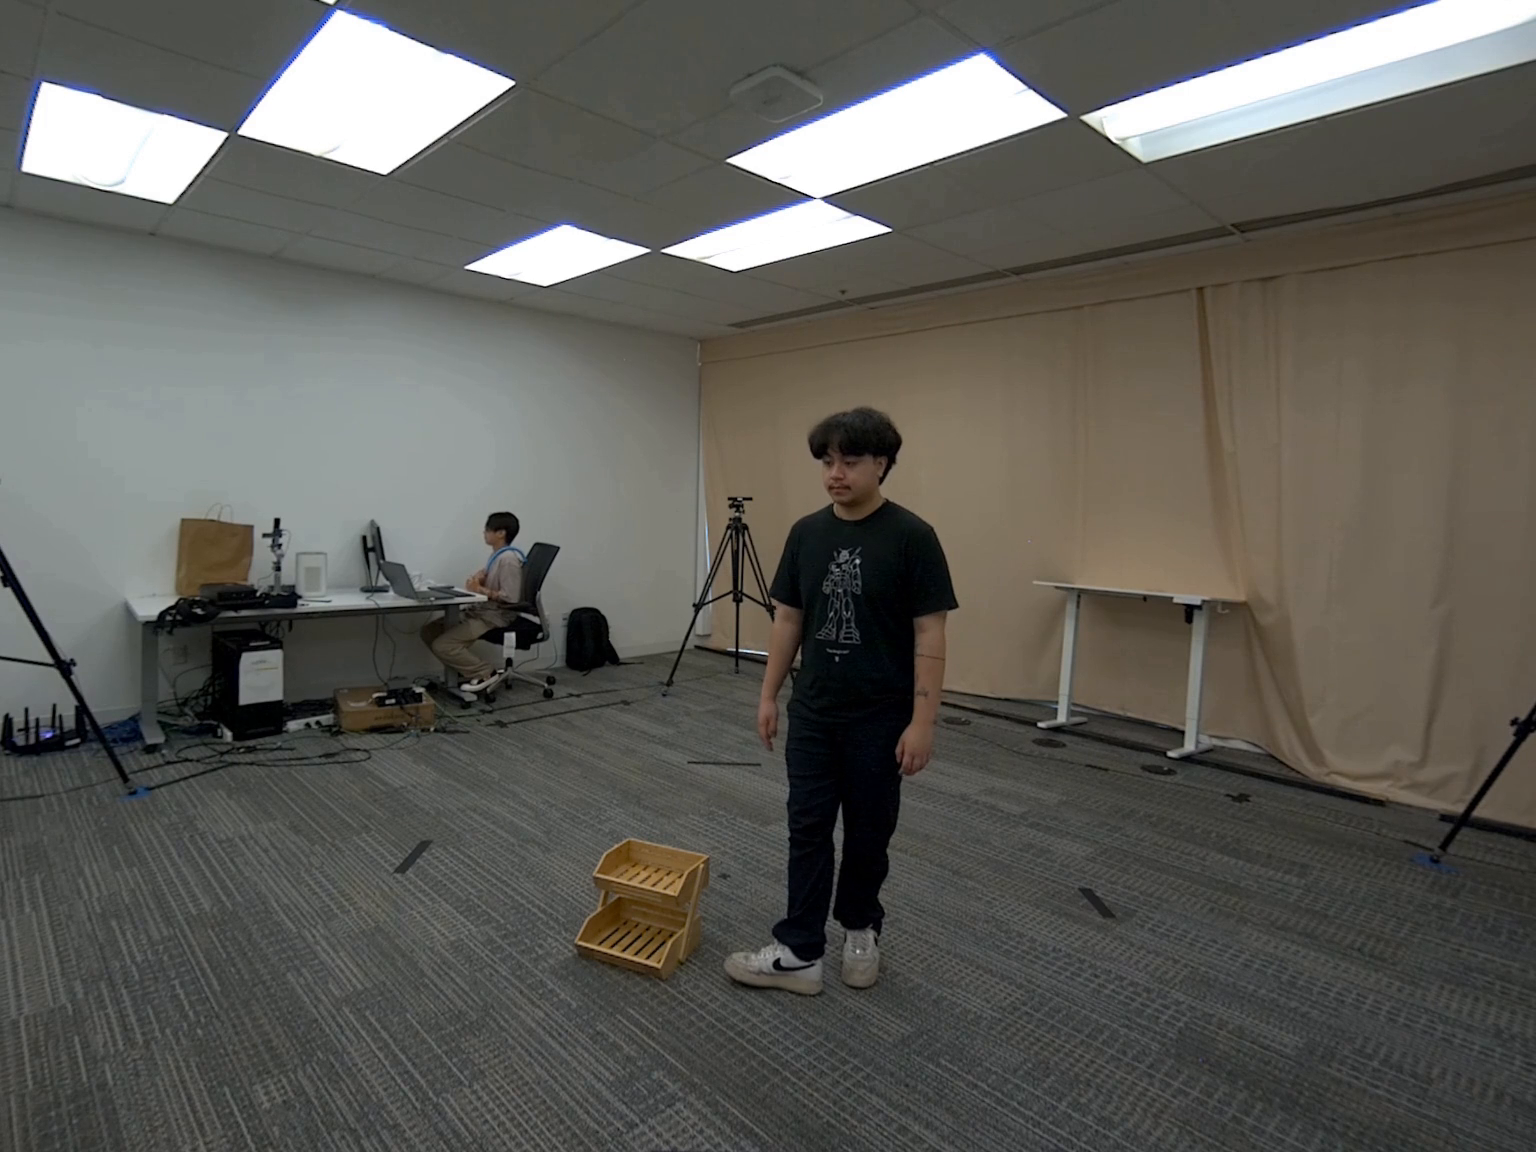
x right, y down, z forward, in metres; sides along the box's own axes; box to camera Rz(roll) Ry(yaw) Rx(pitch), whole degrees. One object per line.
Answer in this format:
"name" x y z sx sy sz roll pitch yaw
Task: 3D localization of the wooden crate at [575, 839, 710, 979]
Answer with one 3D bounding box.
"wooden crate" -0.392 1.016 2.592 0.330 0.273 0.297 3 3 24
